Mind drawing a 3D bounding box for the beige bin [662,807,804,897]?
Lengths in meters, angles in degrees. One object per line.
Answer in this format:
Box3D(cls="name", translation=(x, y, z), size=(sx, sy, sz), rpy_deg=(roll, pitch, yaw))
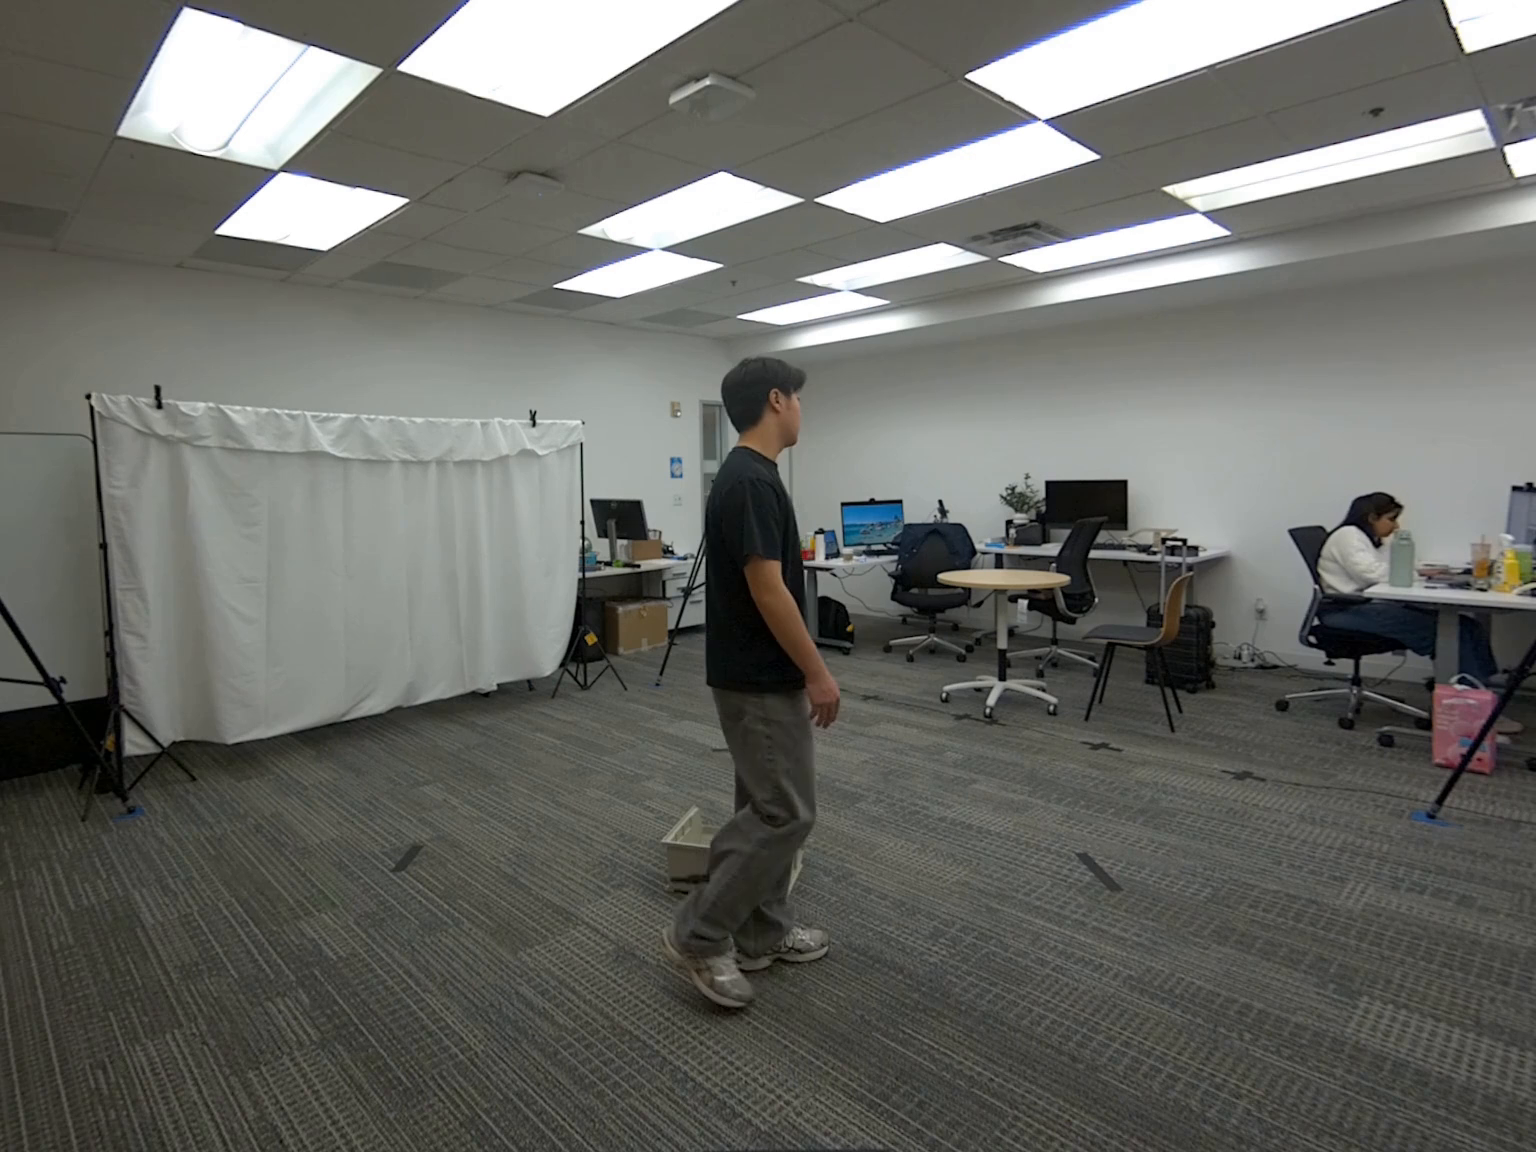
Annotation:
Box3D(cls="beige bin", translation=(-0.108, 0.972, 3.009), size=(0.429, 0.188, 0.373), rpy_deg=(1, 7, 16))
